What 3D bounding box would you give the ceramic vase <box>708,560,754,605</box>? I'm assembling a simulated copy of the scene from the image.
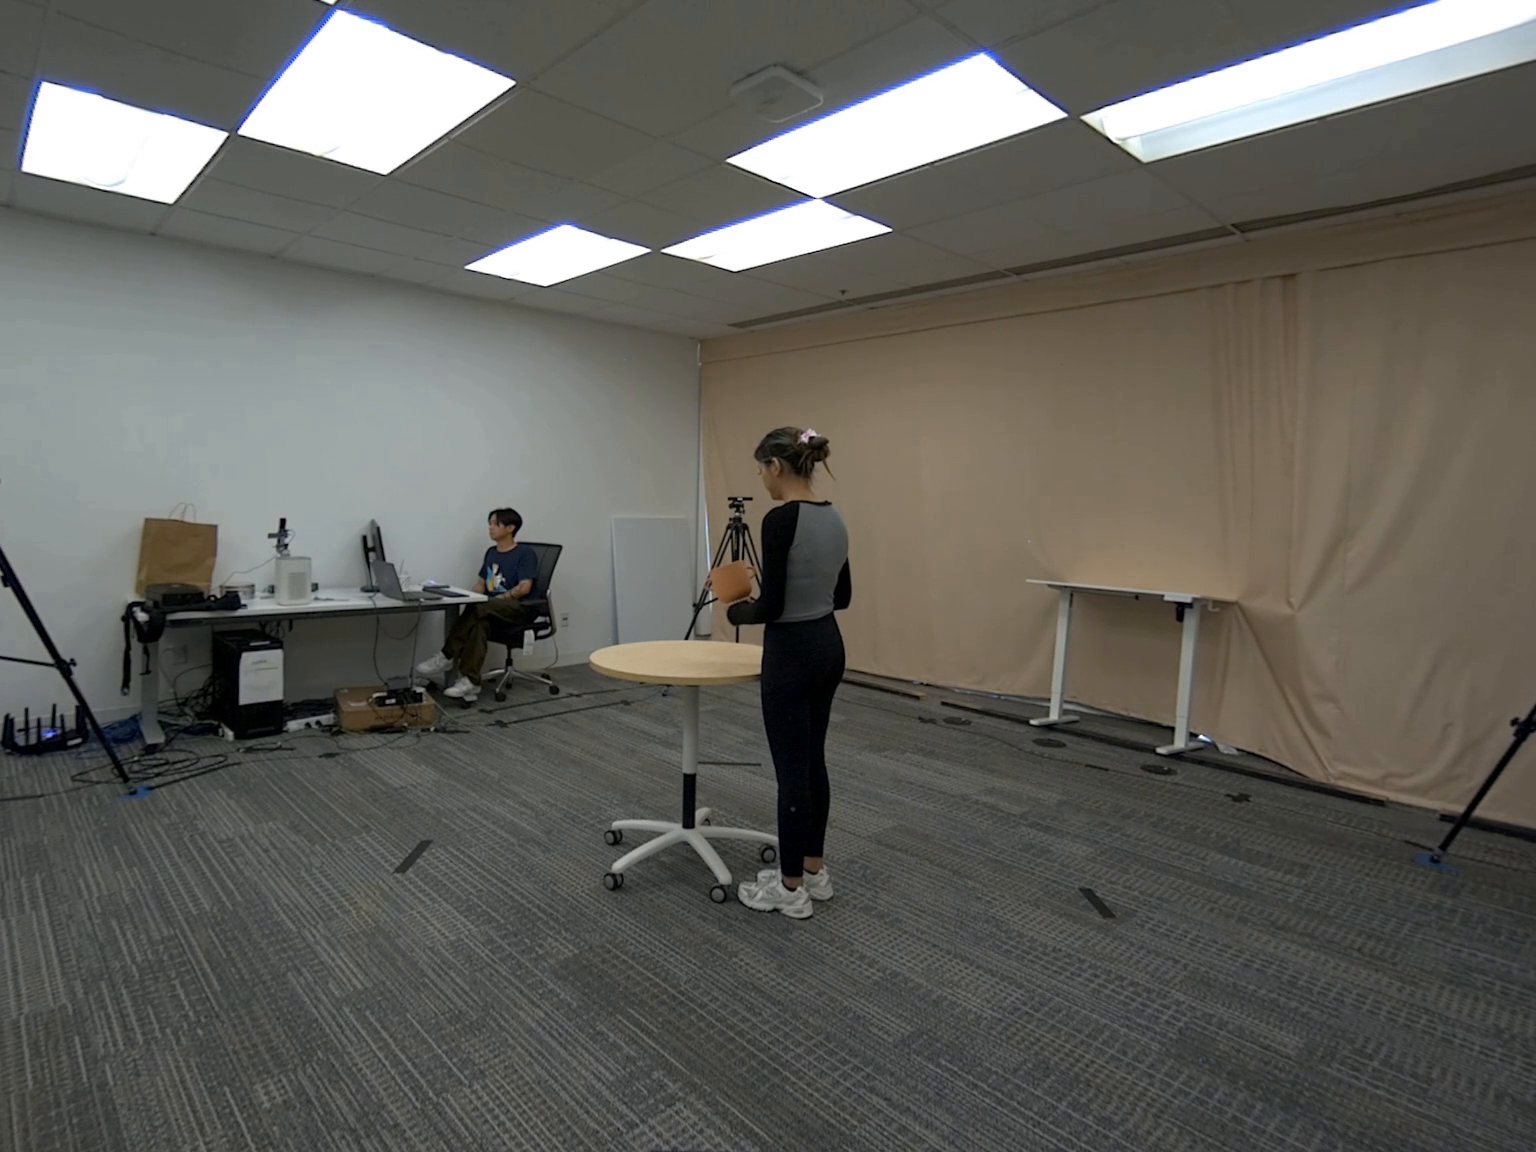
[{"bbox_3d":[-0.122,0.066,3.031,0.161,0.220,0.132,-21,-4,31],"label":"ceramic vase"}]
